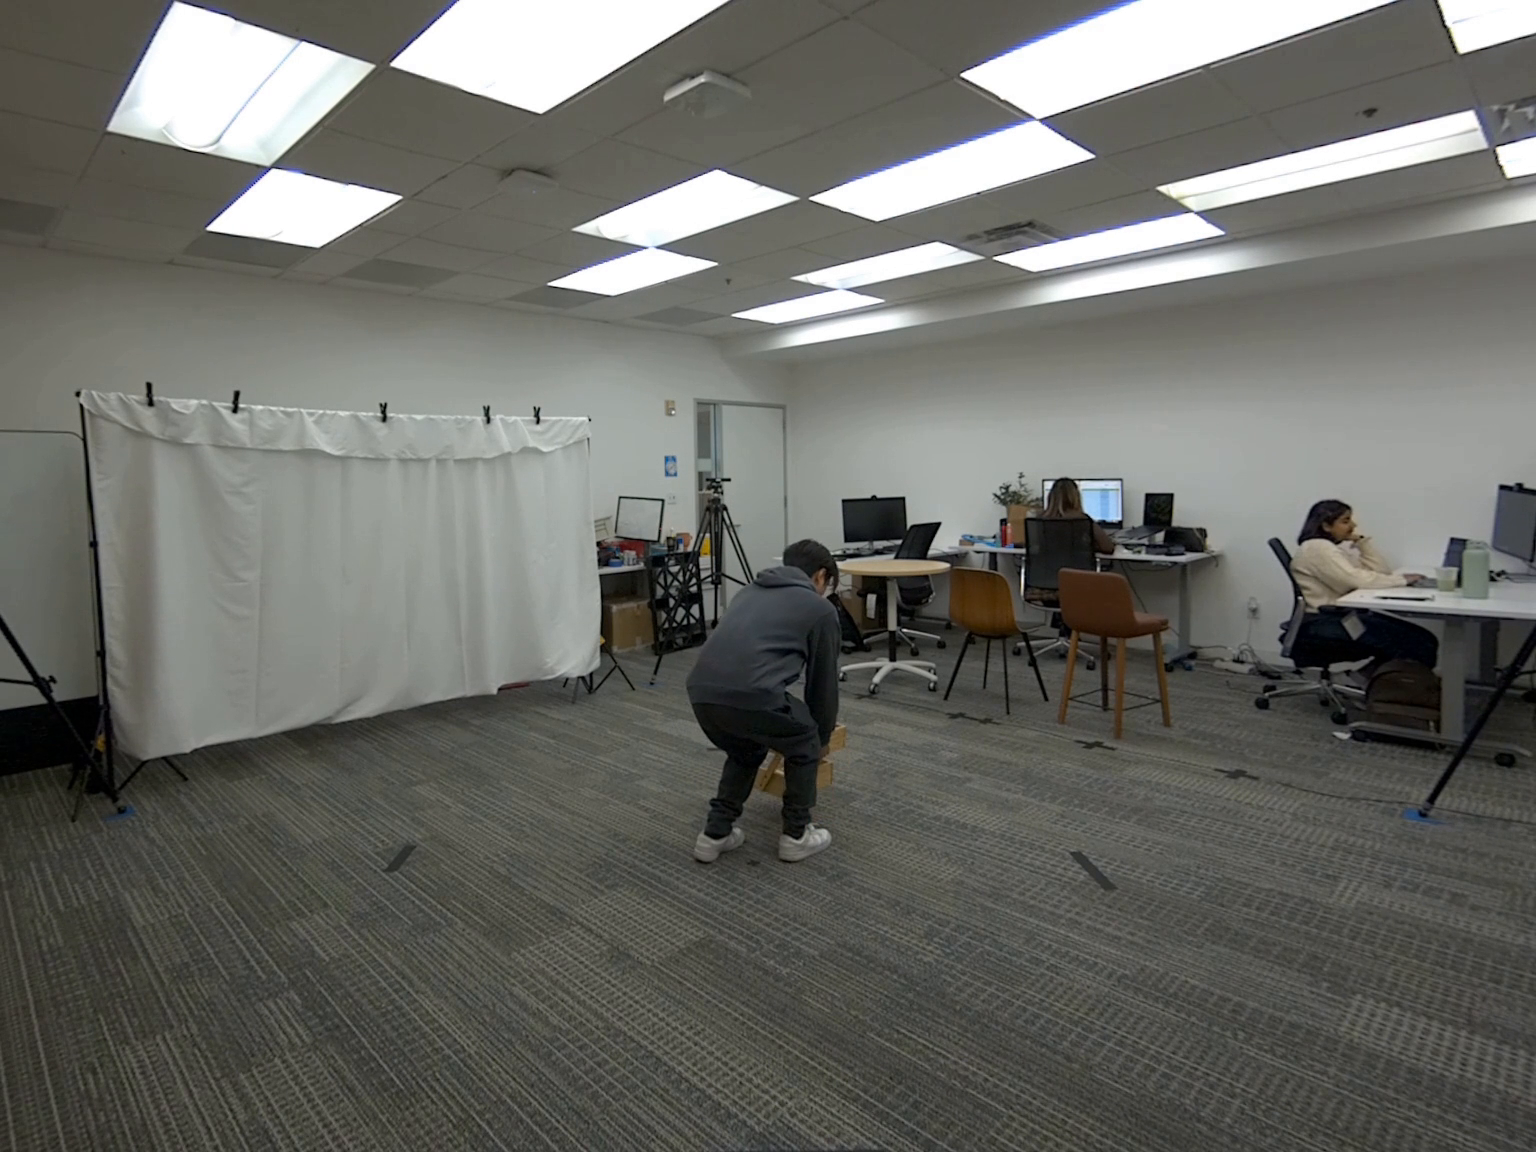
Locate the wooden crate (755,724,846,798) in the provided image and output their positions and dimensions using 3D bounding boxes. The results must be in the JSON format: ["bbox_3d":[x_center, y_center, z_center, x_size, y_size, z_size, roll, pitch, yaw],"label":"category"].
[{"bbox_3d":[0.113,0.737,3.548,0.312,0.272,0.316,9,8,40],"label":"wooden crate"}]
